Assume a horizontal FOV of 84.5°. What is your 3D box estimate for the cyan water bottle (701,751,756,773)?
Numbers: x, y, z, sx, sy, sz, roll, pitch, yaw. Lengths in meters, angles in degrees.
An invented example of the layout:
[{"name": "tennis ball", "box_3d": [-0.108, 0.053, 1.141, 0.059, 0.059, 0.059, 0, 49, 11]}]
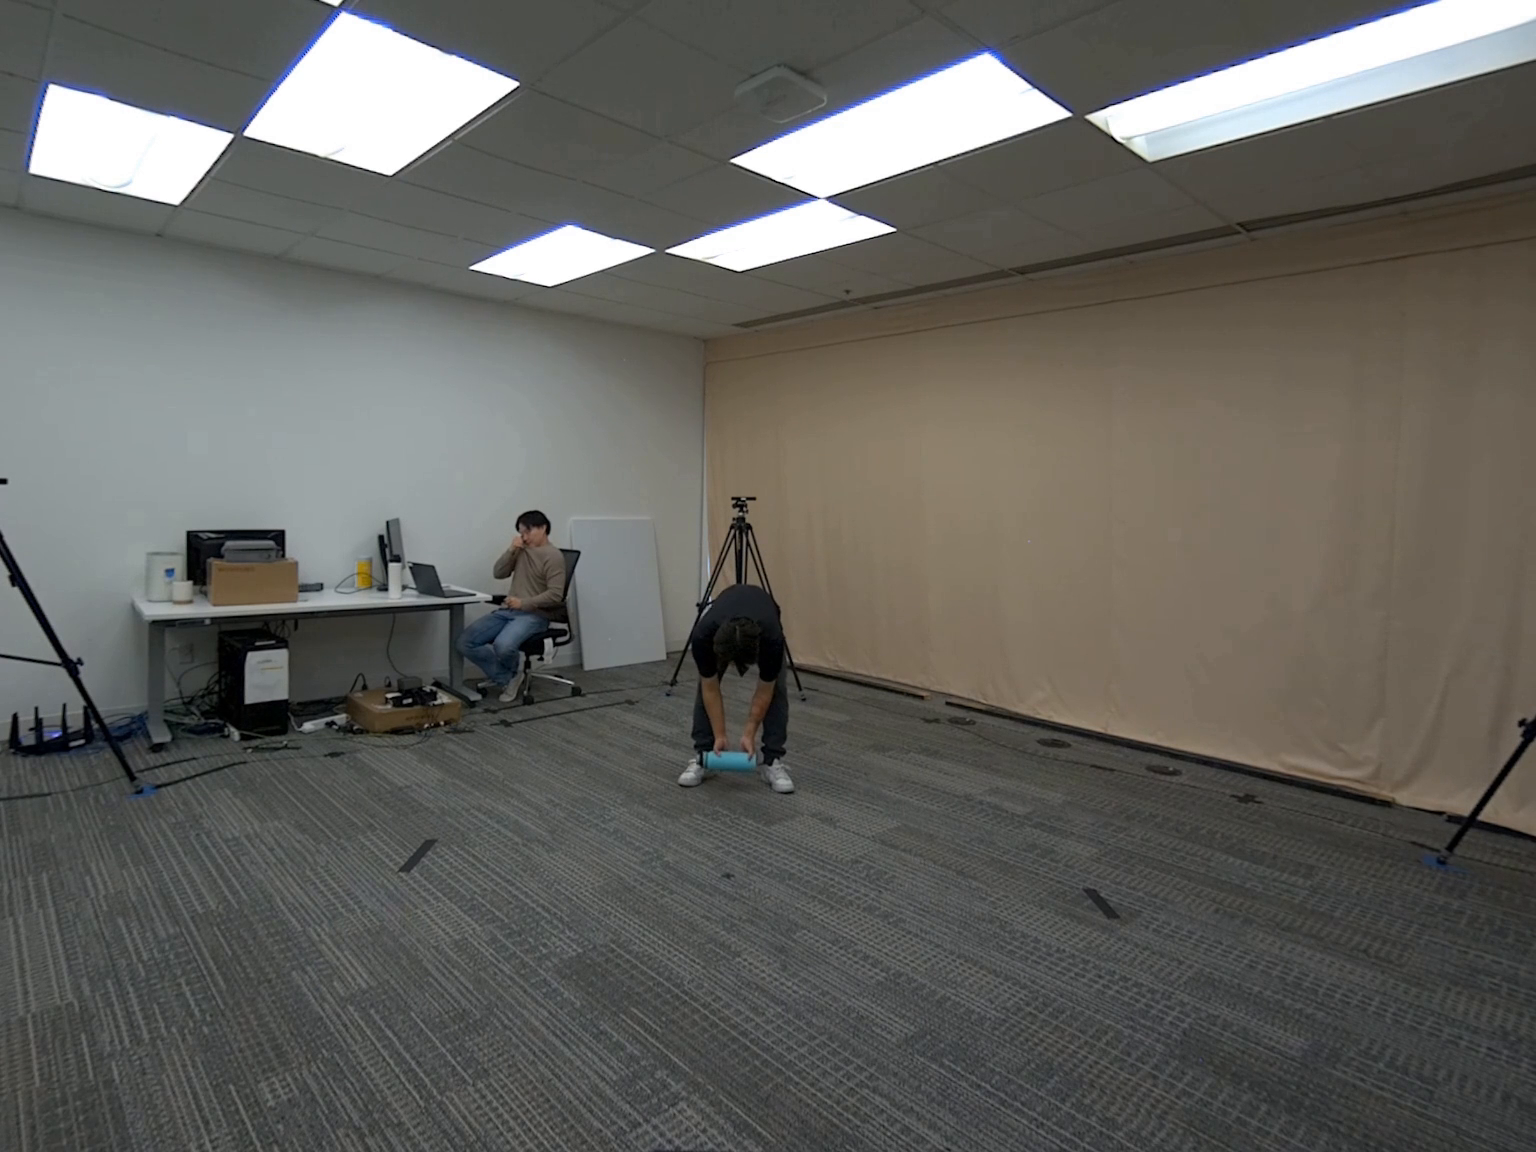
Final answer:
[{"name": "cyan water bottle", "box_3d": [-0.218, 0.886, 4.021, 0.284, 0.092, 0.092, 2, 4, 4]}]
